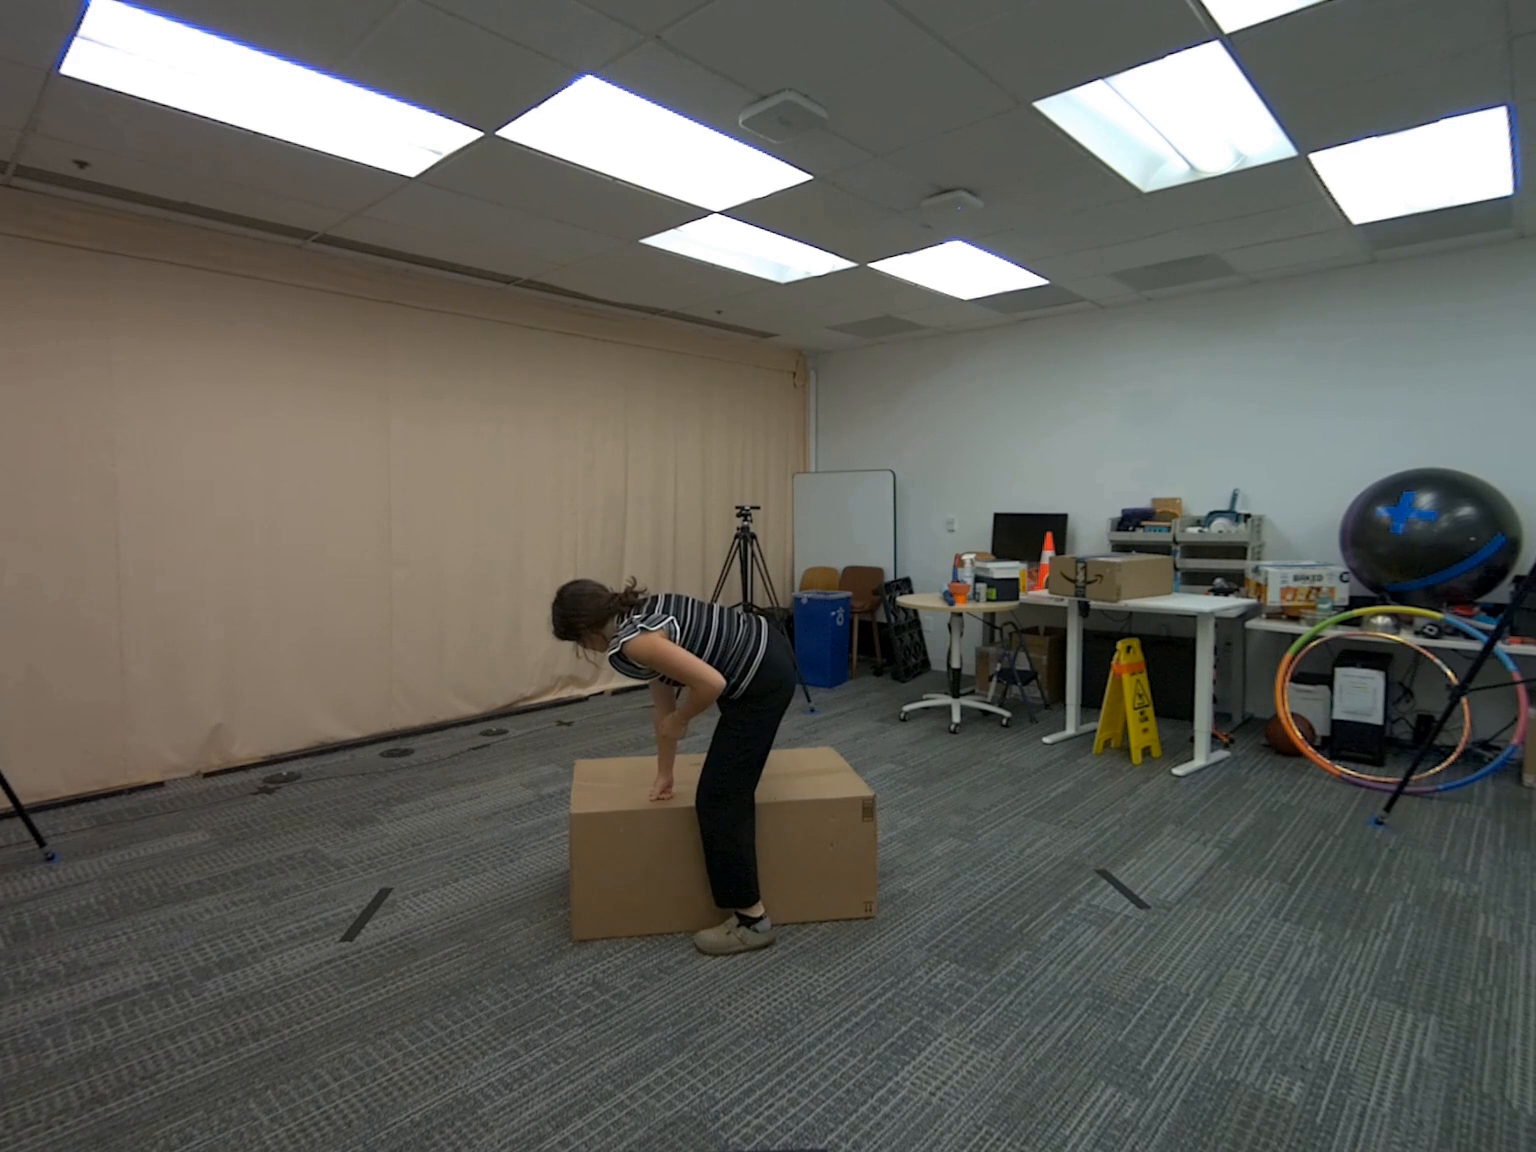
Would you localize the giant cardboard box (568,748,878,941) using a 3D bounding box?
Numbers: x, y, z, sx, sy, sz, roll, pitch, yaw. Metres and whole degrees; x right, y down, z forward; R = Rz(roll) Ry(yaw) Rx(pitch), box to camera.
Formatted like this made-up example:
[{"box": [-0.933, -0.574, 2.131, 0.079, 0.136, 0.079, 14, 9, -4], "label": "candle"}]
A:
[{"box": [-0.187, 0.933, 3.041, 1.017, 0.425, 0.584, -1, 4, -9], "label": "giant cardboard box"}]
